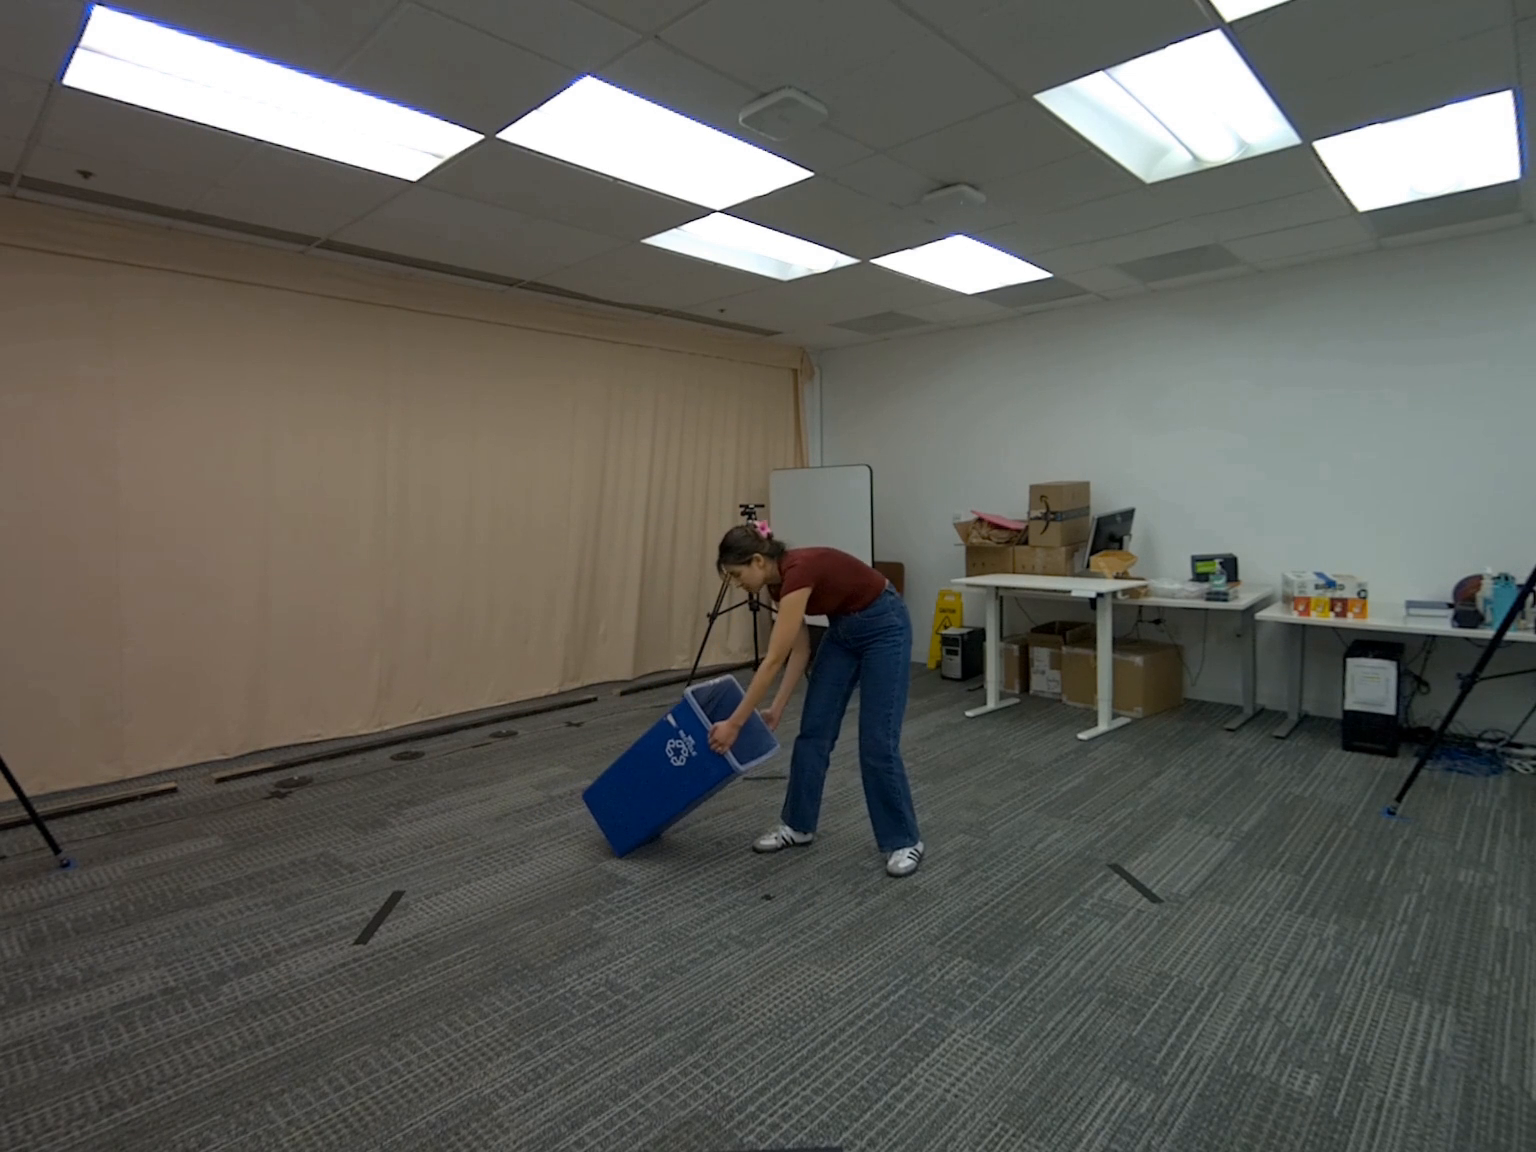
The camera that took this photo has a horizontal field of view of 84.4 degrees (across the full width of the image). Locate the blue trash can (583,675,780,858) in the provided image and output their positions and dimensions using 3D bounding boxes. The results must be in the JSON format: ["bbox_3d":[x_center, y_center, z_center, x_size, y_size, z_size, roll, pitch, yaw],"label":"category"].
[{"bbox_3d":[-0.356,0.774,3.352,0.718,0.381,0.368,-43,-17,22],"label":"blue trash can"}]
